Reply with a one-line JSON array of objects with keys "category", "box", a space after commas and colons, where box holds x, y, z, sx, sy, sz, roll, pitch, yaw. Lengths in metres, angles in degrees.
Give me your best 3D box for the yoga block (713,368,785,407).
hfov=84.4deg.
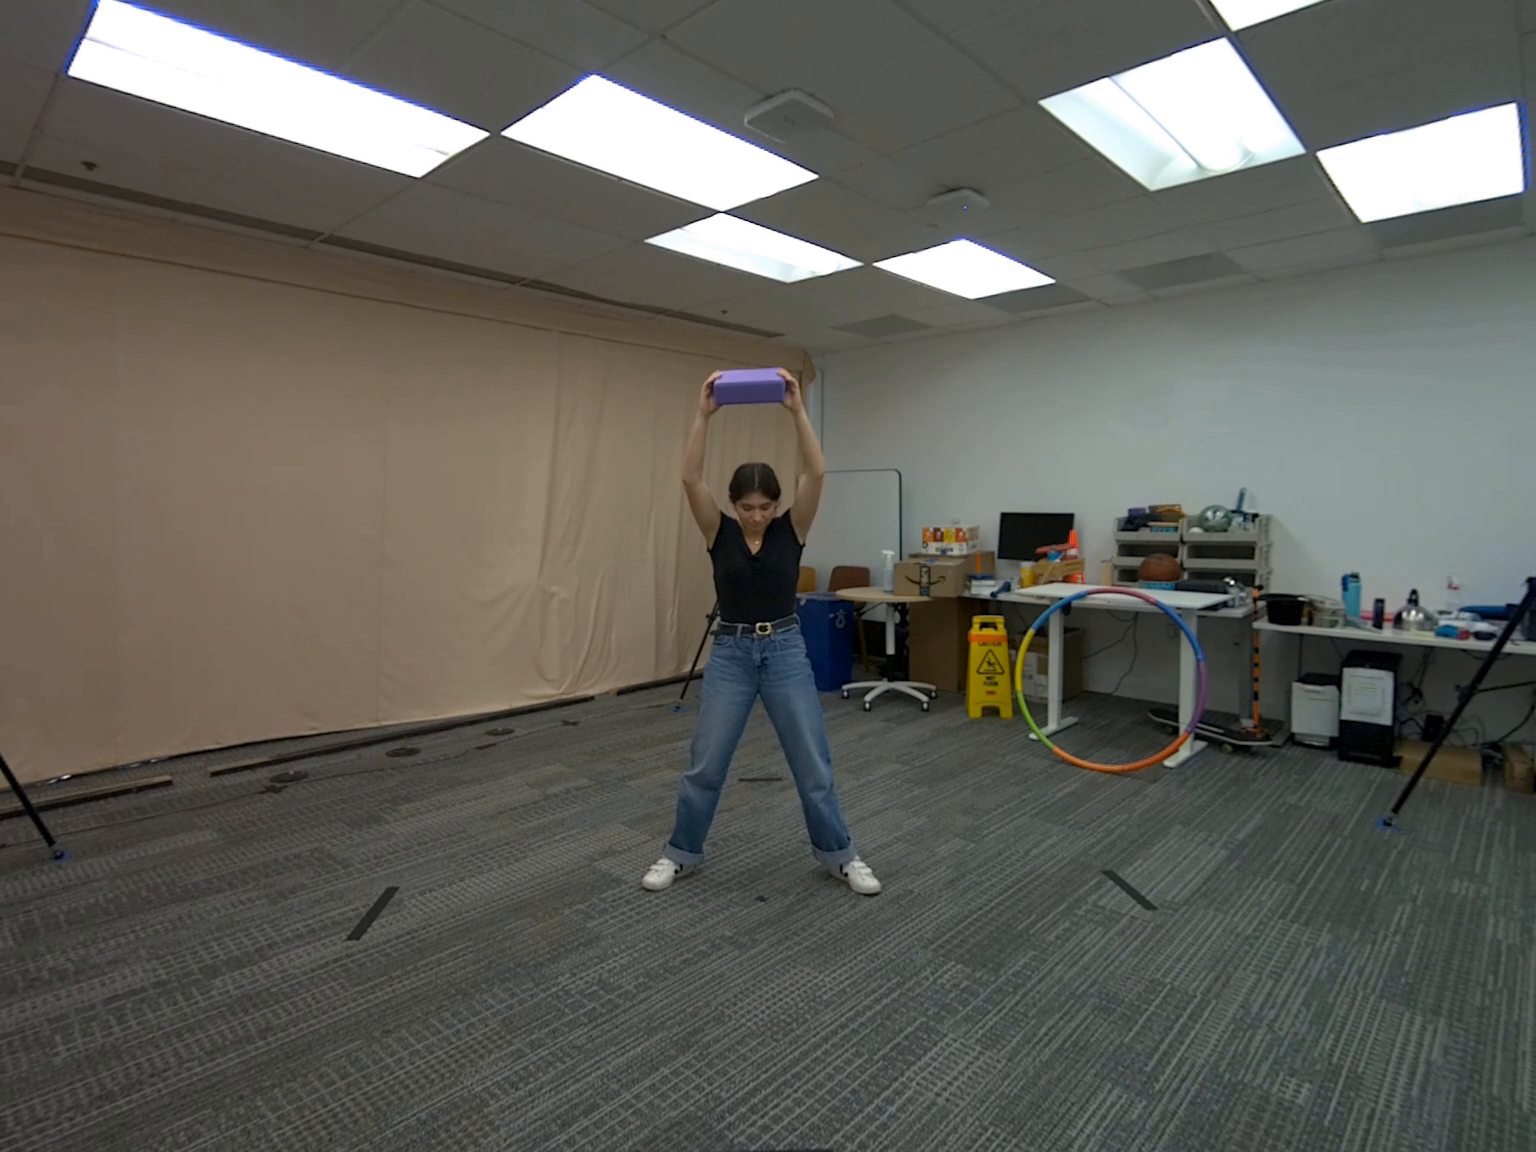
[{"category": "yoga block", "box": [-0.059, -0.632, 2.816, 0.230, 0.075, 0.151, -2, 31, 4]}]
